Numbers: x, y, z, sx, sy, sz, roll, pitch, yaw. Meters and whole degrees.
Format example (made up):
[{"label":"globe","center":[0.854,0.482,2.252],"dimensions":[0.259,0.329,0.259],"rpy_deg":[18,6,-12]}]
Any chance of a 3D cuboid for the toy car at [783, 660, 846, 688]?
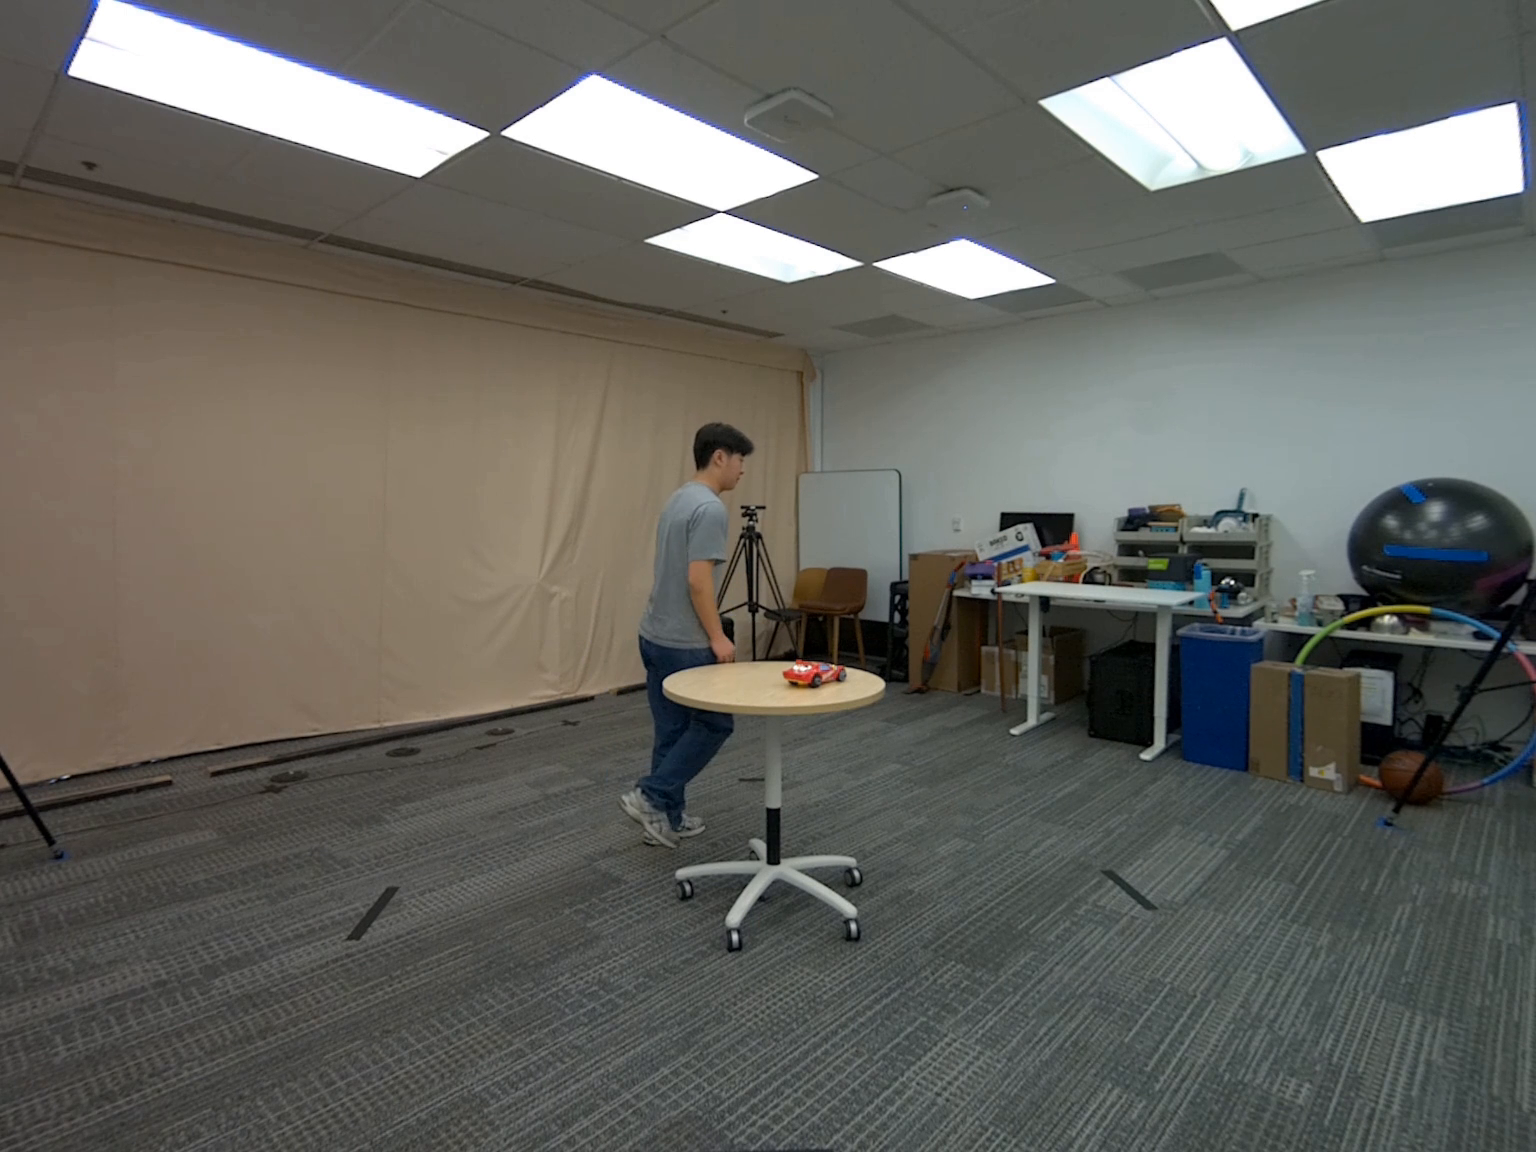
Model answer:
[{"label":"toy car","center":[0.159,0.337,2.870],"dimensions":[0.134,0.083,0.246],"rpy_deg":[3,-6,44]}]
